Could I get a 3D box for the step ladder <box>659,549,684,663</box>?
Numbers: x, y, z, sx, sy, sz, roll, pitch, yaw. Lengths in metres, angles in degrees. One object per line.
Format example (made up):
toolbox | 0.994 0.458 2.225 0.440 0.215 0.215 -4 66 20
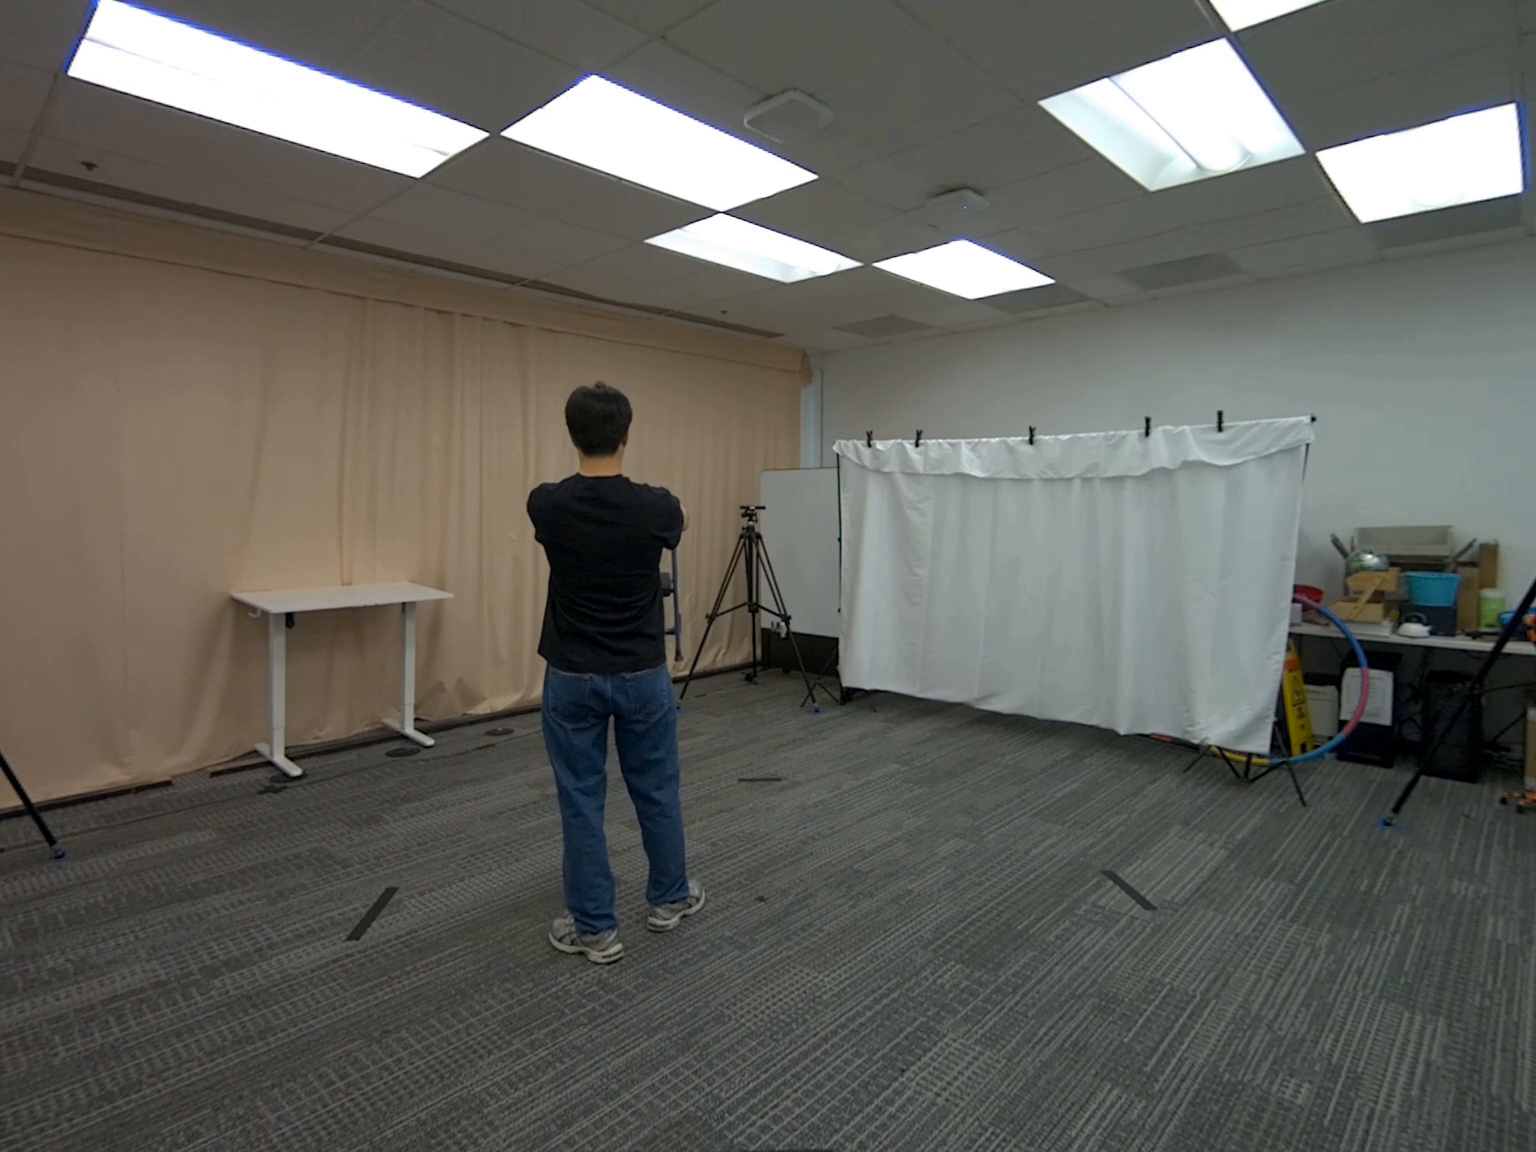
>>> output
step ladder | -0.554 -0.009 3.190 0.428 0.602 0.353 0 11 -5
